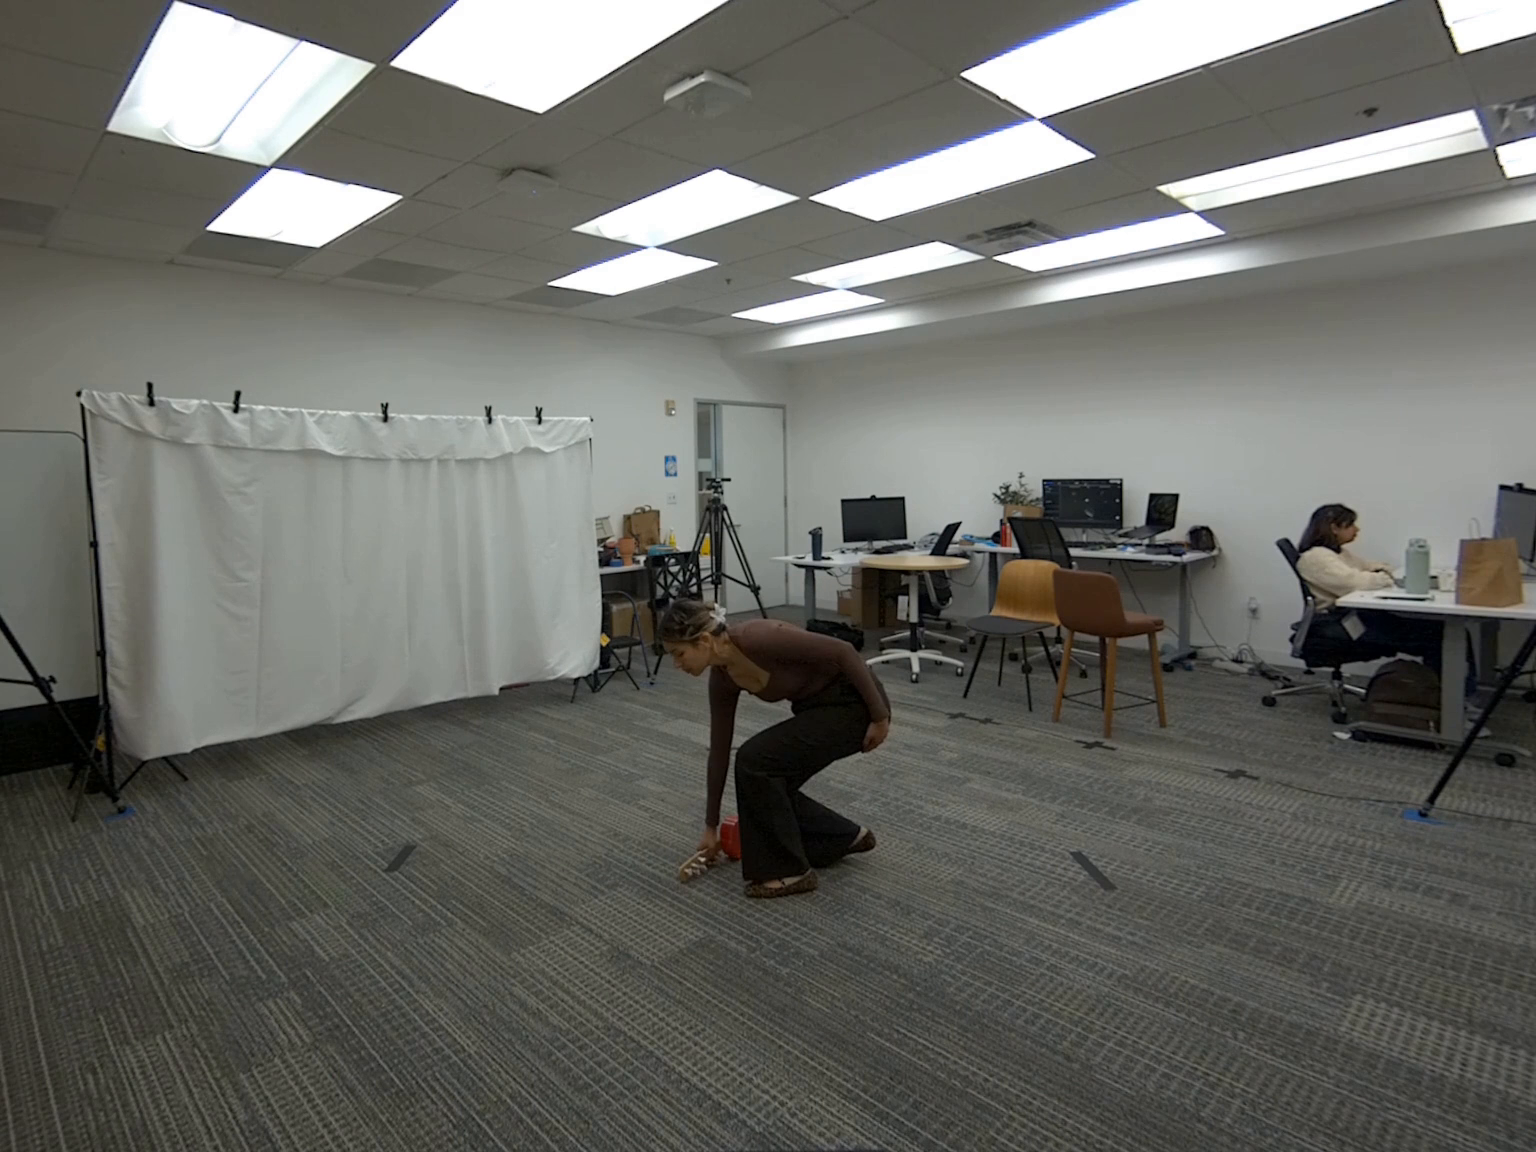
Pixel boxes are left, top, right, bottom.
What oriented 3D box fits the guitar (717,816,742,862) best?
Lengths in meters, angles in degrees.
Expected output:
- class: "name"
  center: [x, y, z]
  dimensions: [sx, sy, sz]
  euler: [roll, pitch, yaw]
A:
- class: "guitar"
  center: [-0.131, 0.997, 3.143]
  dimensions: [0.073, 0.189, 0.493]
  euler: [0, 24, 37]
